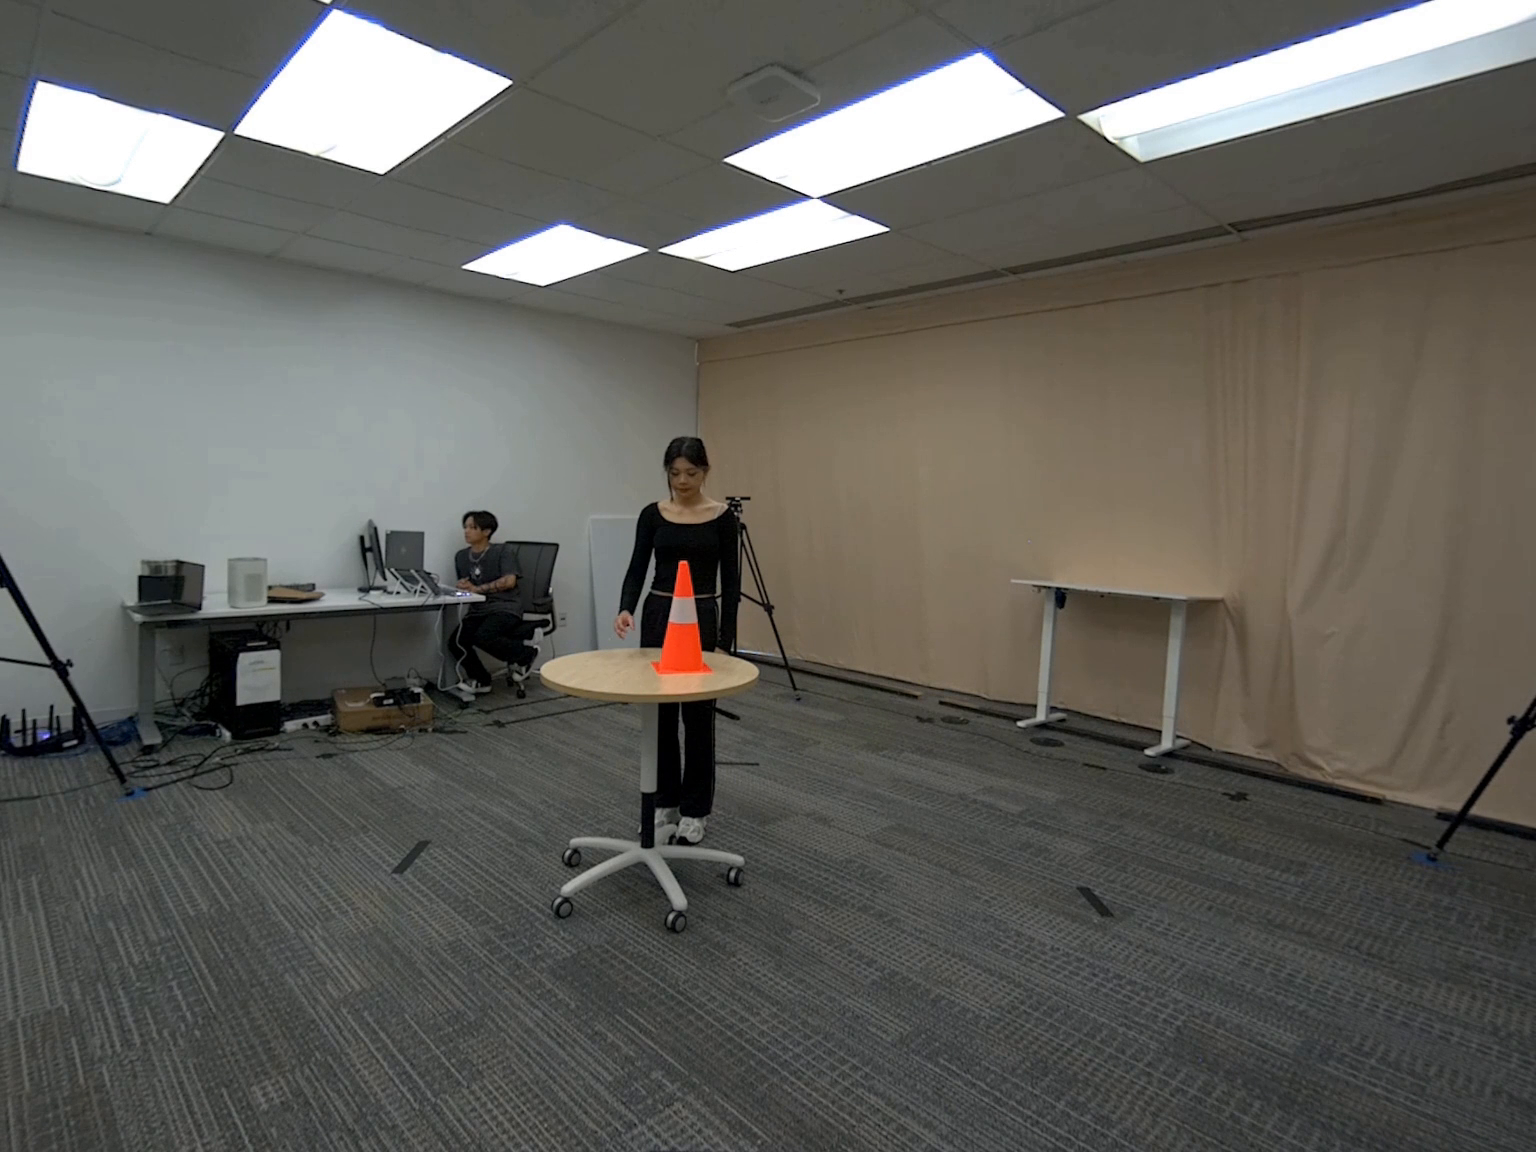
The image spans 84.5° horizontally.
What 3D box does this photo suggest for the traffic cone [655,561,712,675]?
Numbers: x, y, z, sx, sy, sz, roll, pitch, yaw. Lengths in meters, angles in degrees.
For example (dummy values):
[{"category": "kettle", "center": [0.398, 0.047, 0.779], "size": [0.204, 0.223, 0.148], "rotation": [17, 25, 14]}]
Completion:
[{"category": "traffic cone", "center": [-0.324, 0.140, 2.993], "size": [0.203, 0.382, 0.206], "rotation": [-2, 4, -14]}]
